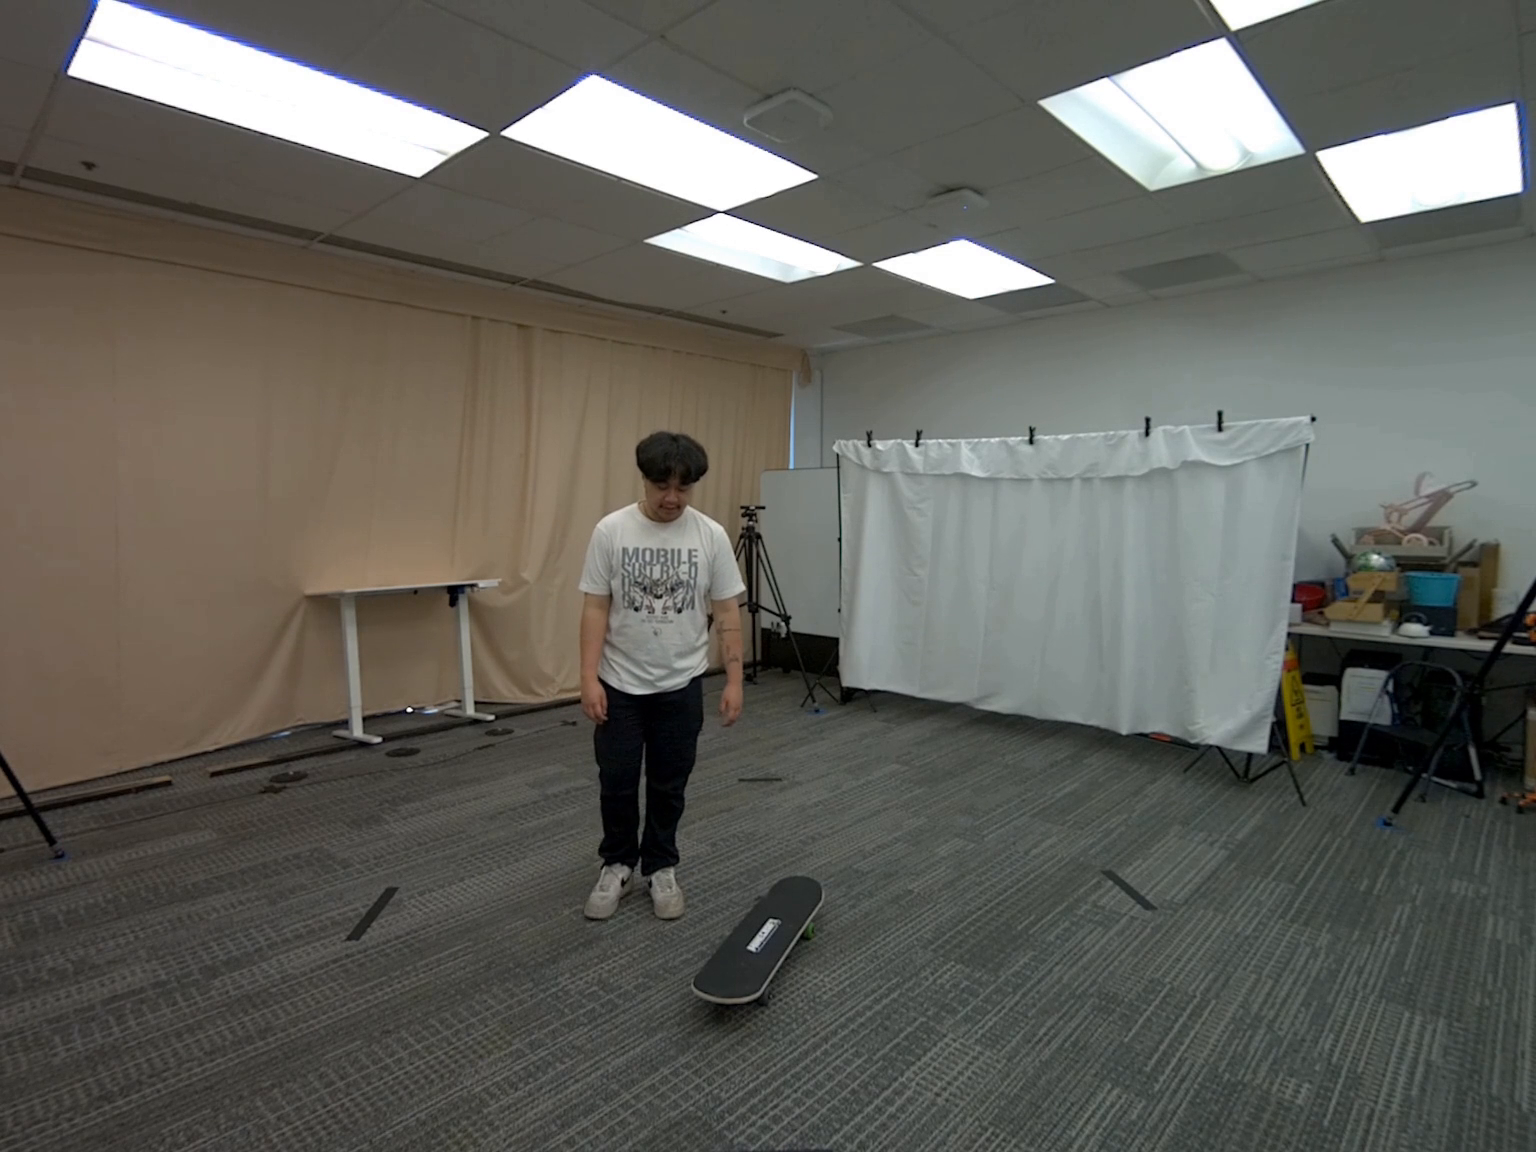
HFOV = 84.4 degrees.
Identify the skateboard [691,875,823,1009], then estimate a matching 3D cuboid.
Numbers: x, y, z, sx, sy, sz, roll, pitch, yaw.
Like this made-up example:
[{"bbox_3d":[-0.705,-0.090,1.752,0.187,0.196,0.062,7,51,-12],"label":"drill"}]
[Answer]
[{"bbox_3d":[-0.008,1.120,2.567,0.198,0.110,0.769,2,5,21],"label":"skateboard"}]
